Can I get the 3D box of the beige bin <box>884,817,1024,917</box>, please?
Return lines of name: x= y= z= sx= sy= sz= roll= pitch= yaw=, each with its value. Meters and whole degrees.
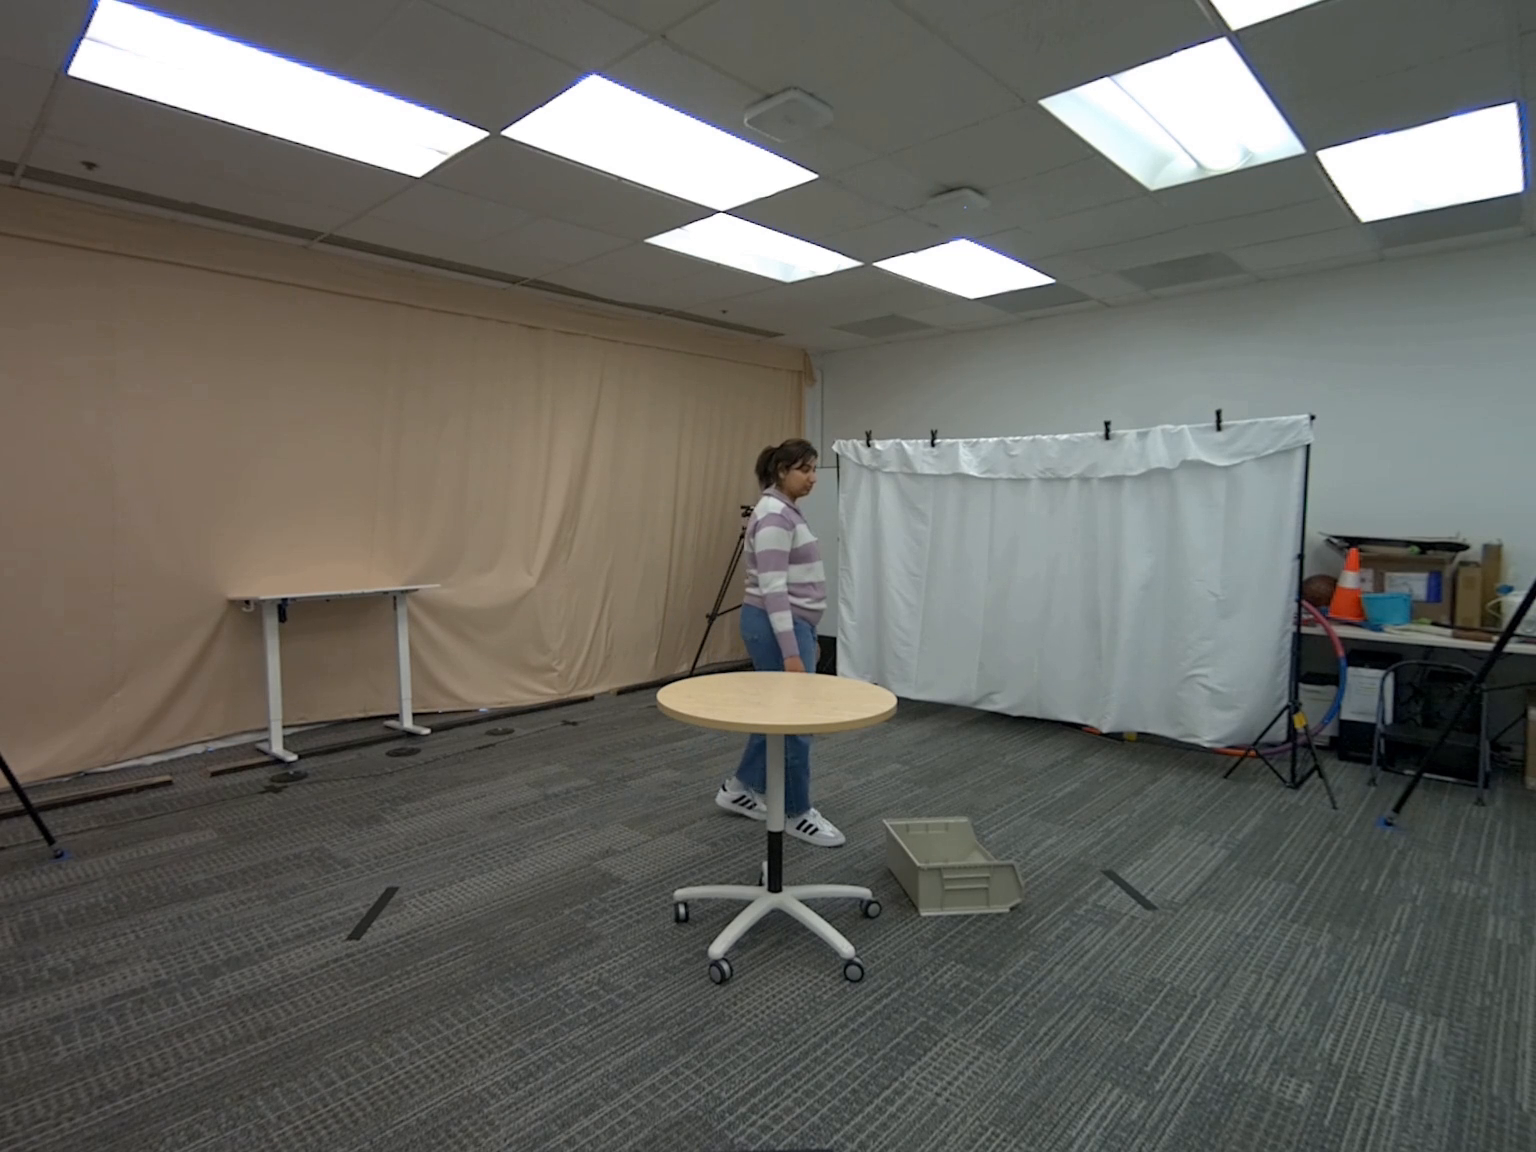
beige bin: x=0.670 y=1.049 z=3.062 sx=0.375 sy=0.188 sz=0.426 roll=-2 pitch=5 yaw=-7
